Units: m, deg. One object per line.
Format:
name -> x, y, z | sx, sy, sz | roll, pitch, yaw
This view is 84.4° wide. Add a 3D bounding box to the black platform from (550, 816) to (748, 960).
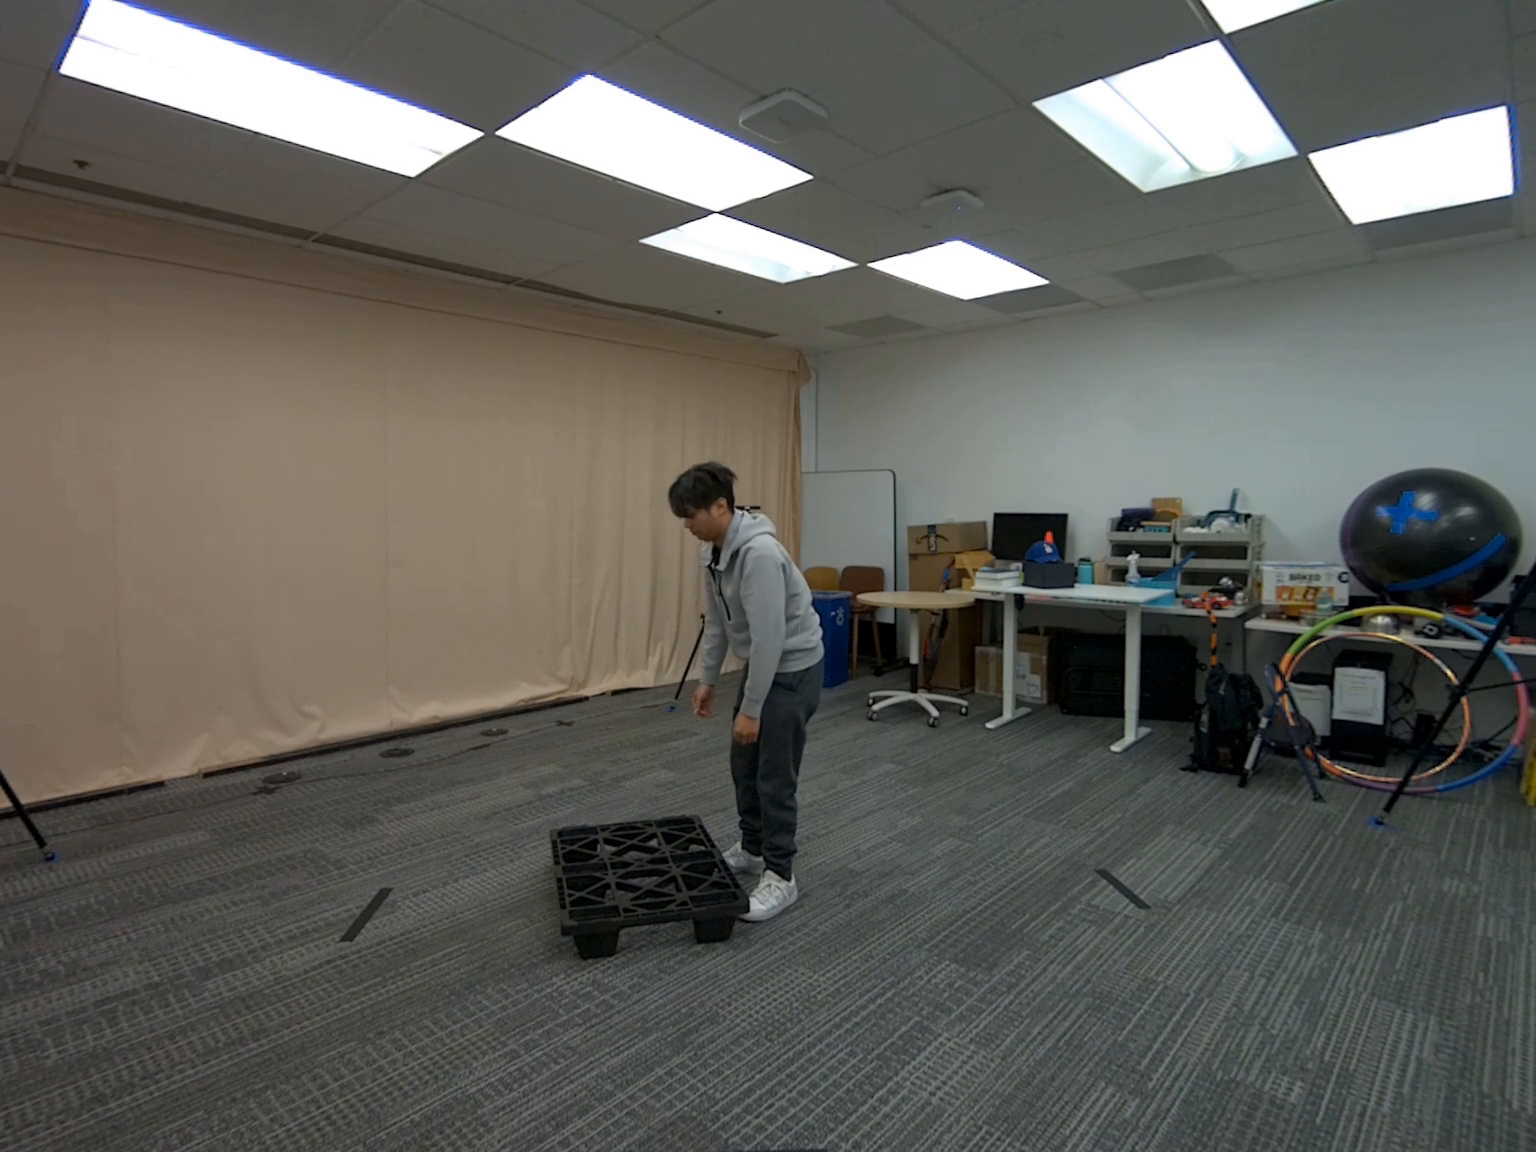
black platform -> -0.457, 1.079, 2.989 | 0.596, 0.143, 0.820 | -2, 5, -15
